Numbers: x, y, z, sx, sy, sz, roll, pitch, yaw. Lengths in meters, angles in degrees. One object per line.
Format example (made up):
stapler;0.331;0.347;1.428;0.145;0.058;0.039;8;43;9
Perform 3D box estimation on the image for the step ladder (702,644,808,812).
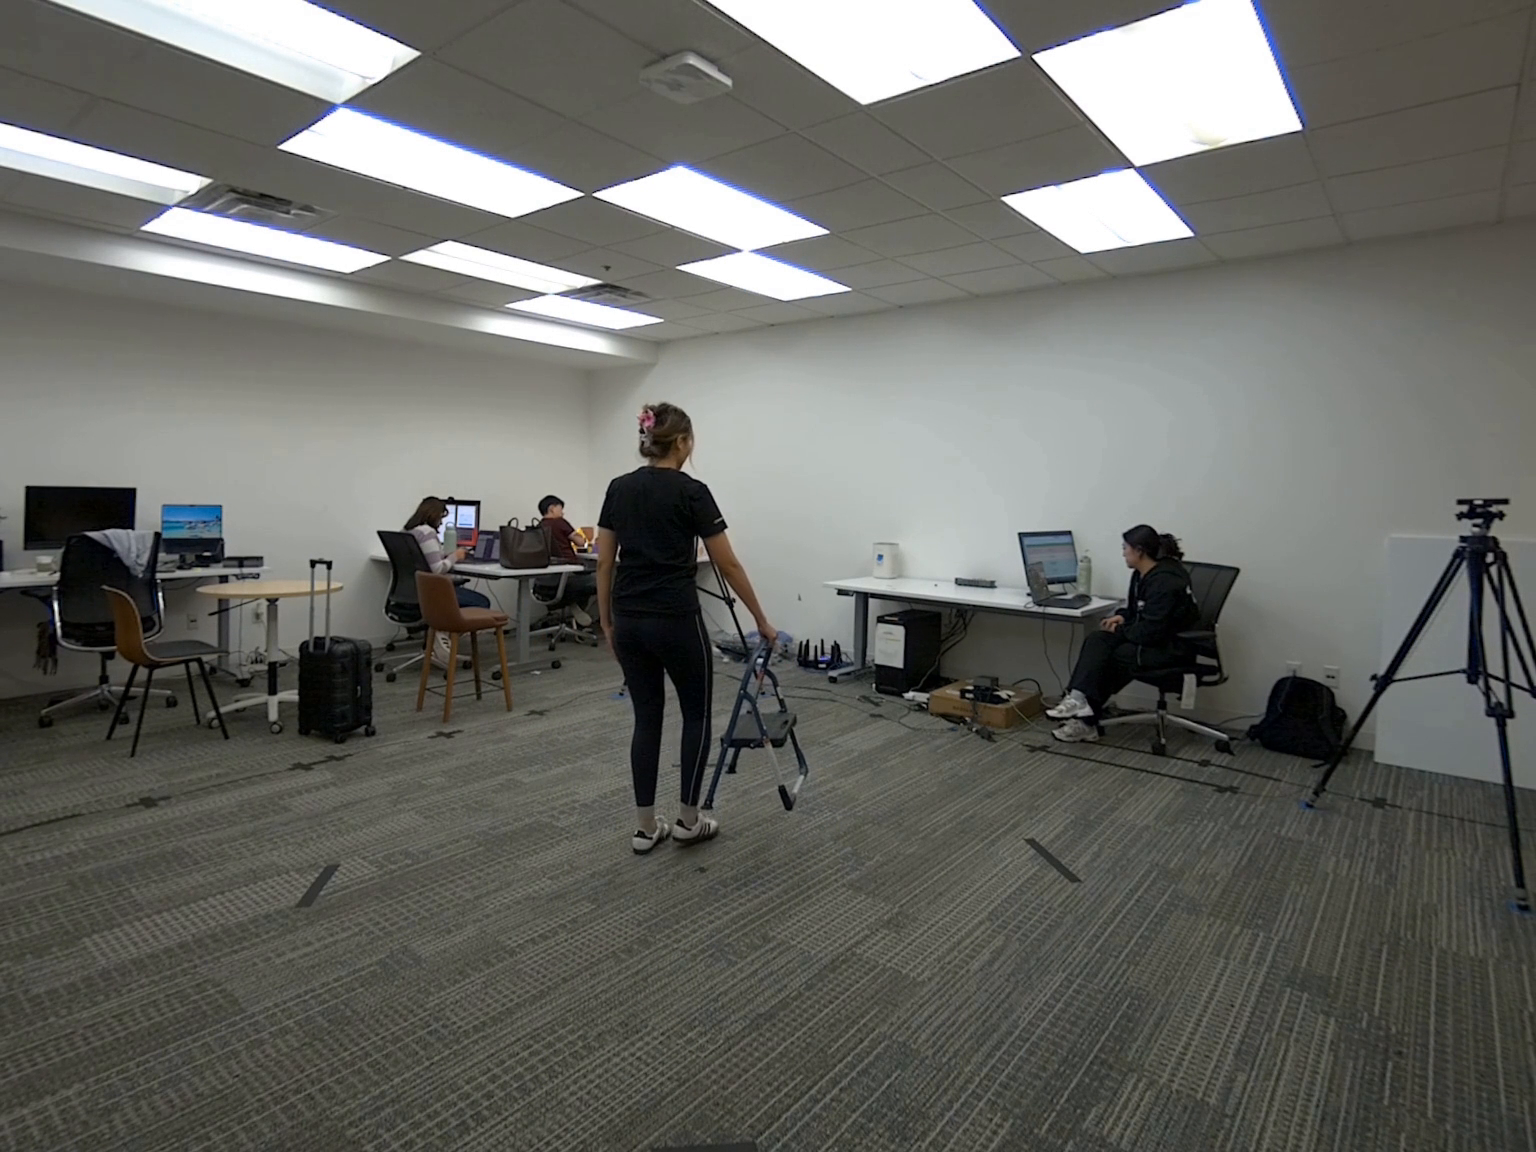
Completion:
step ladder;-0.068;0.547;3.321;0.354;0.604;0.427;-4;4;12
